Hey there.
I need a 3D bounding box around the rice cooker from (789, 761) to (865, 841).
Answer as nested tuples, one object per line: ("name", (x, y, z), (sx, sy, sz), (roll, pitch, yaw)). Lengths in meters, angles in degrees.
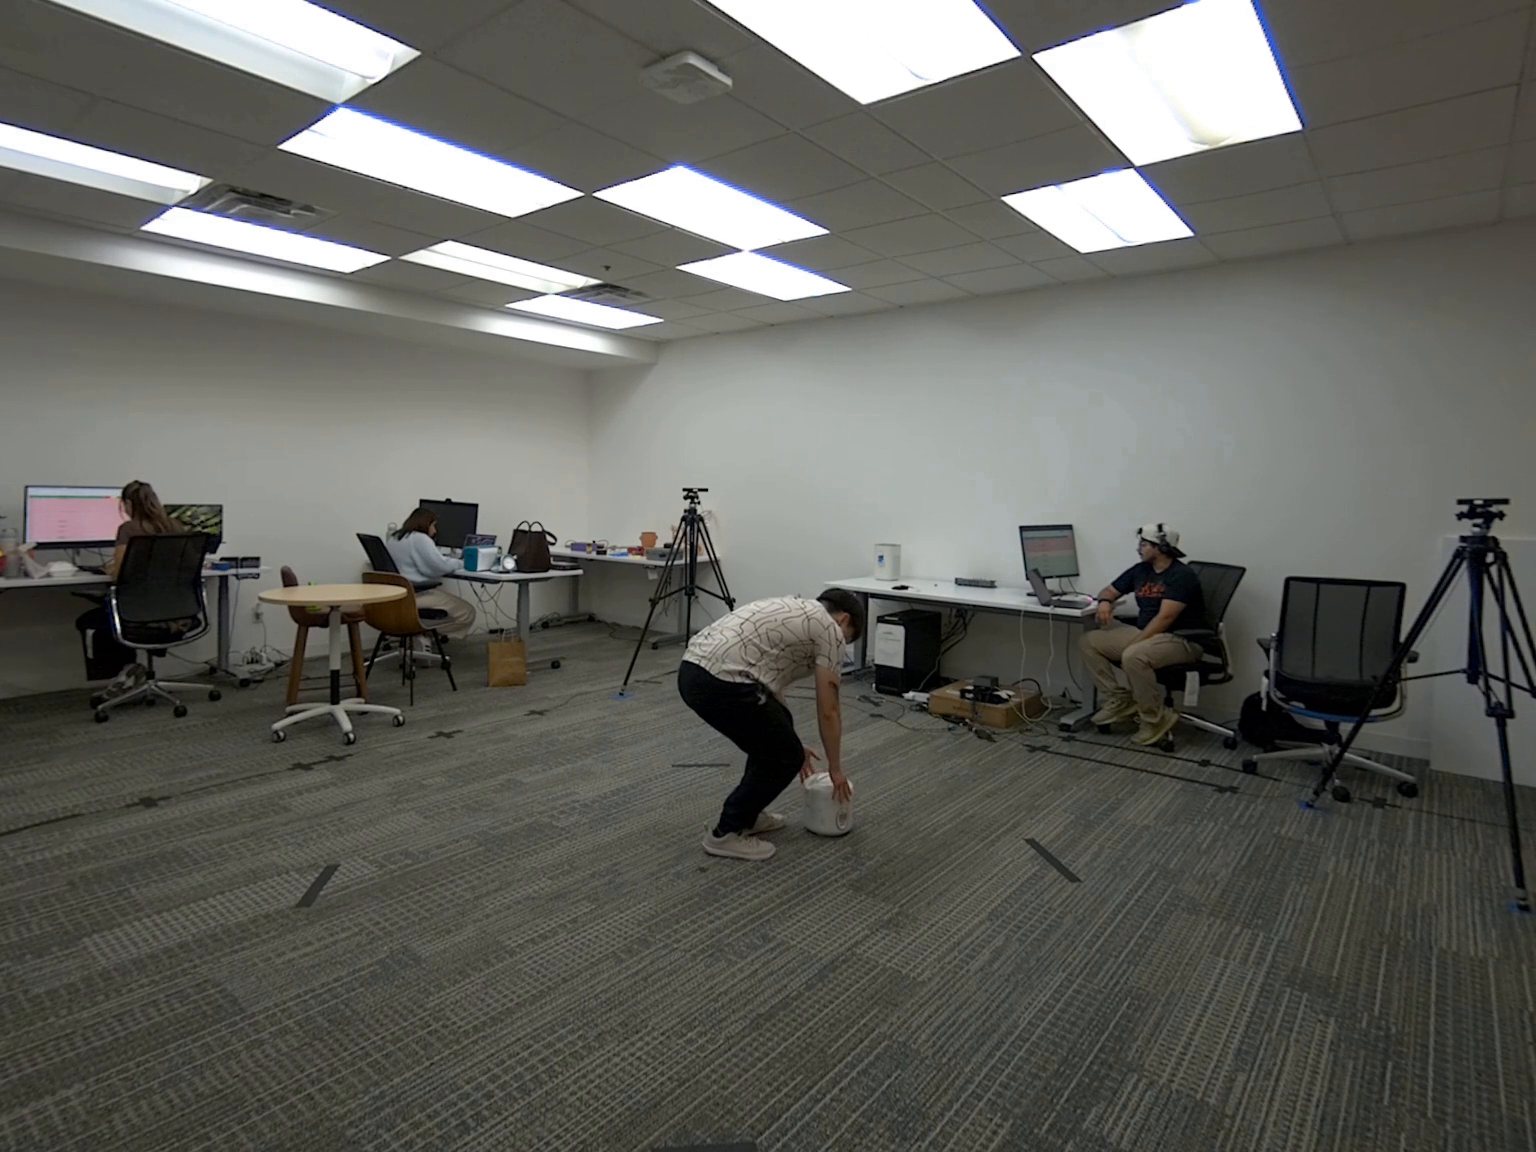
("rice cooker", (0.241, 0.923, 3.495), (0.215, 0.232, 0.224), (-1, 4, -29))
